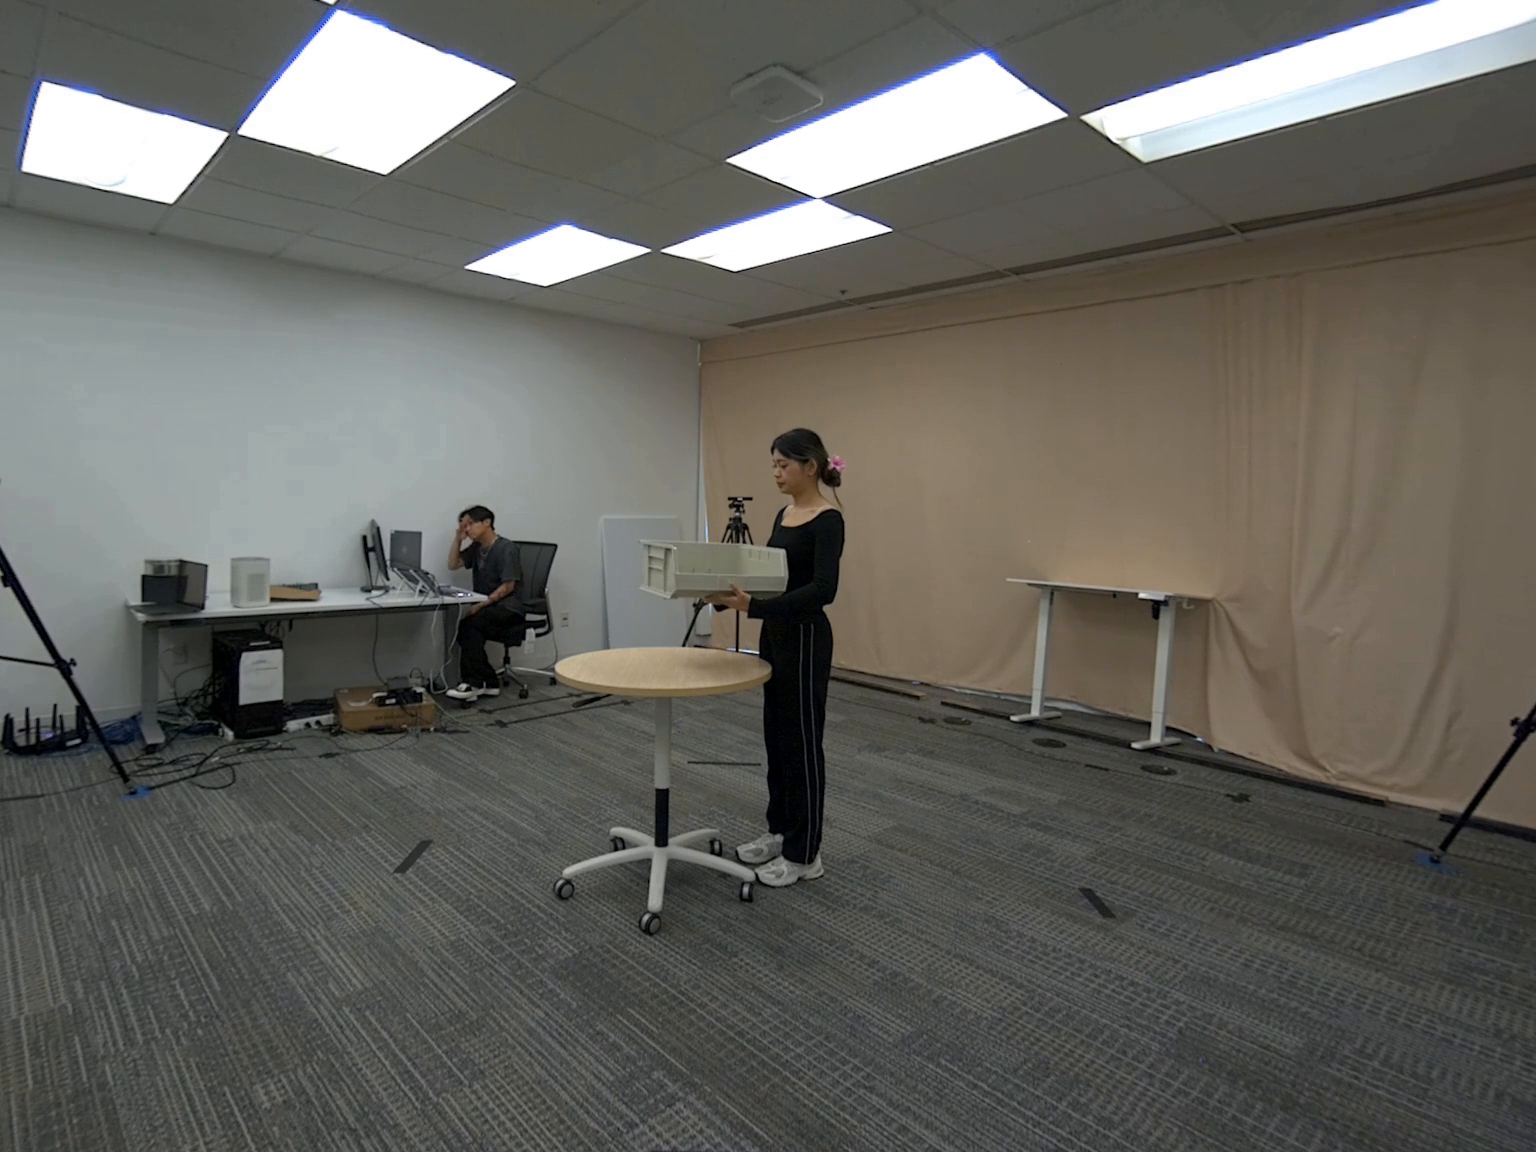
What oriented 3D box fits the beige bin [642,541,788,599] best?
[{"bbox_3d":[-0.208,-0.017,2.966,0.414,0.189,0.385,1,3,-26],"label":"beige bin"}]
